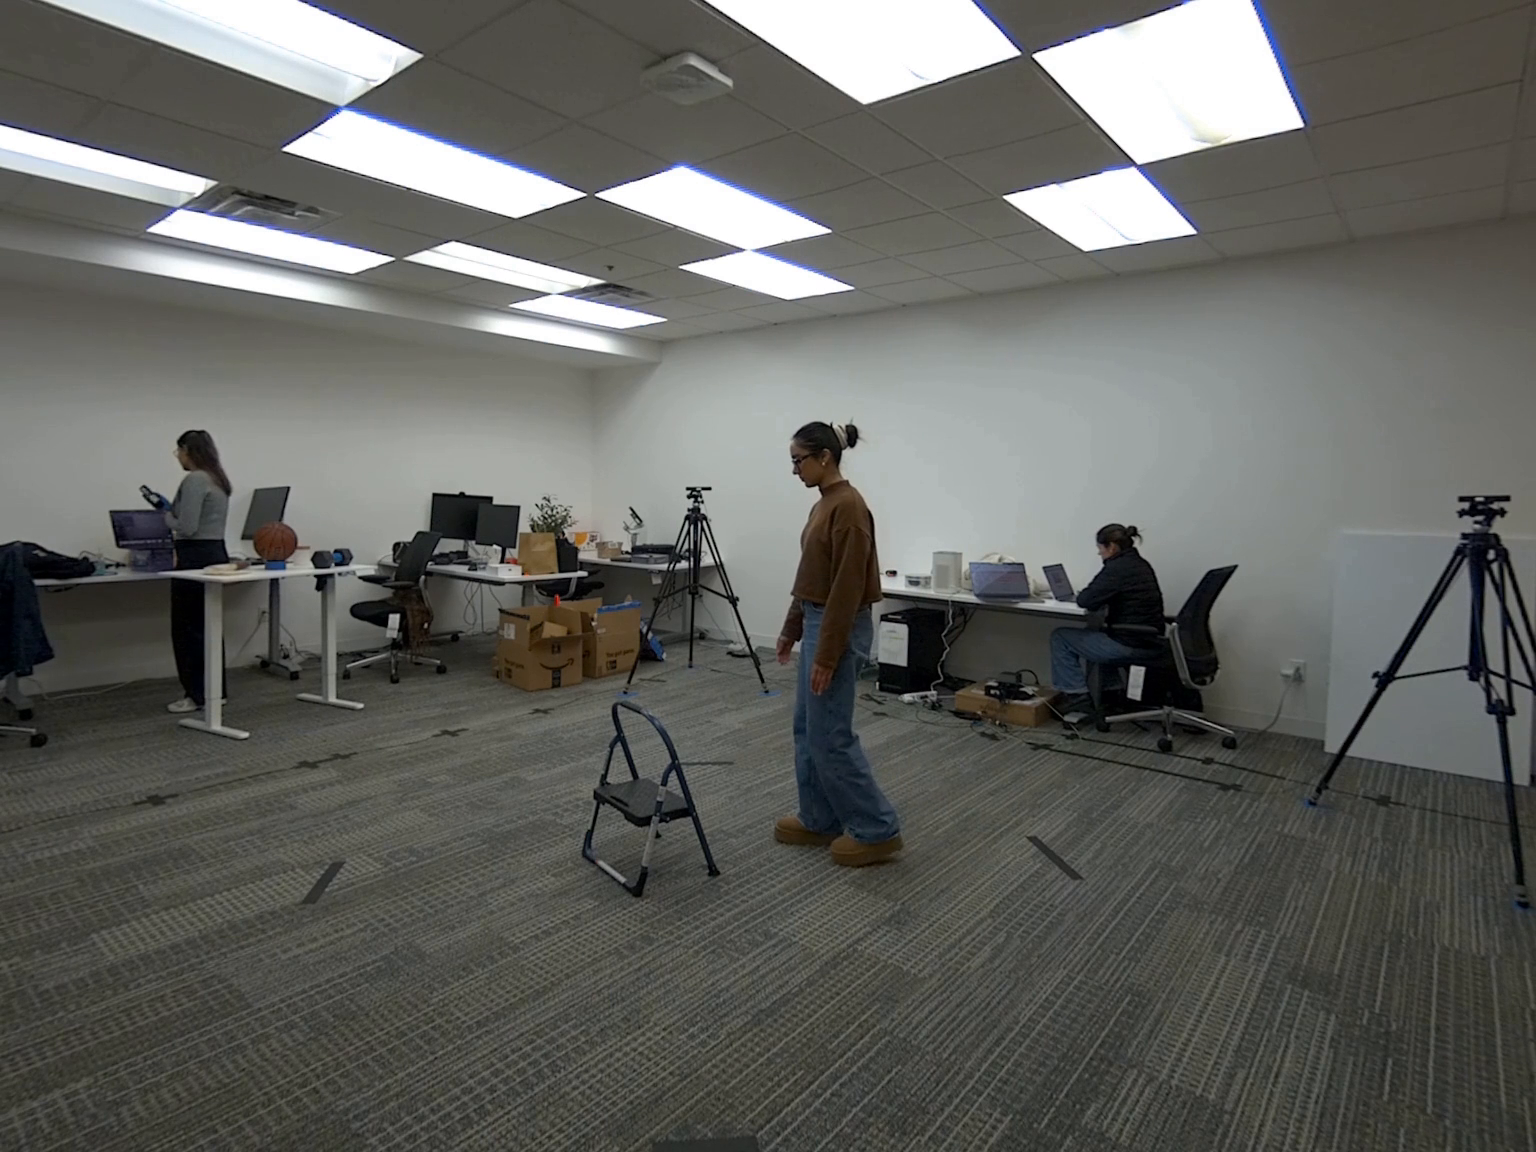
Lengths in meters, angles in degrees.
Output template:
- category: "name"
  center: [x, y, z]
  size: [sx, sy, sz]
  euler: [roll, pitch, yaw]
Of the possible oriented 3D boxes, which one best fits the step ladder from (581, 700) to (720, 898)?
- category: "step ladder"
  center: [-0.444, 0.758, 3.116]
  size: [0.339, 0.604, 0.445]
  euler: [-2, 4, -39]
